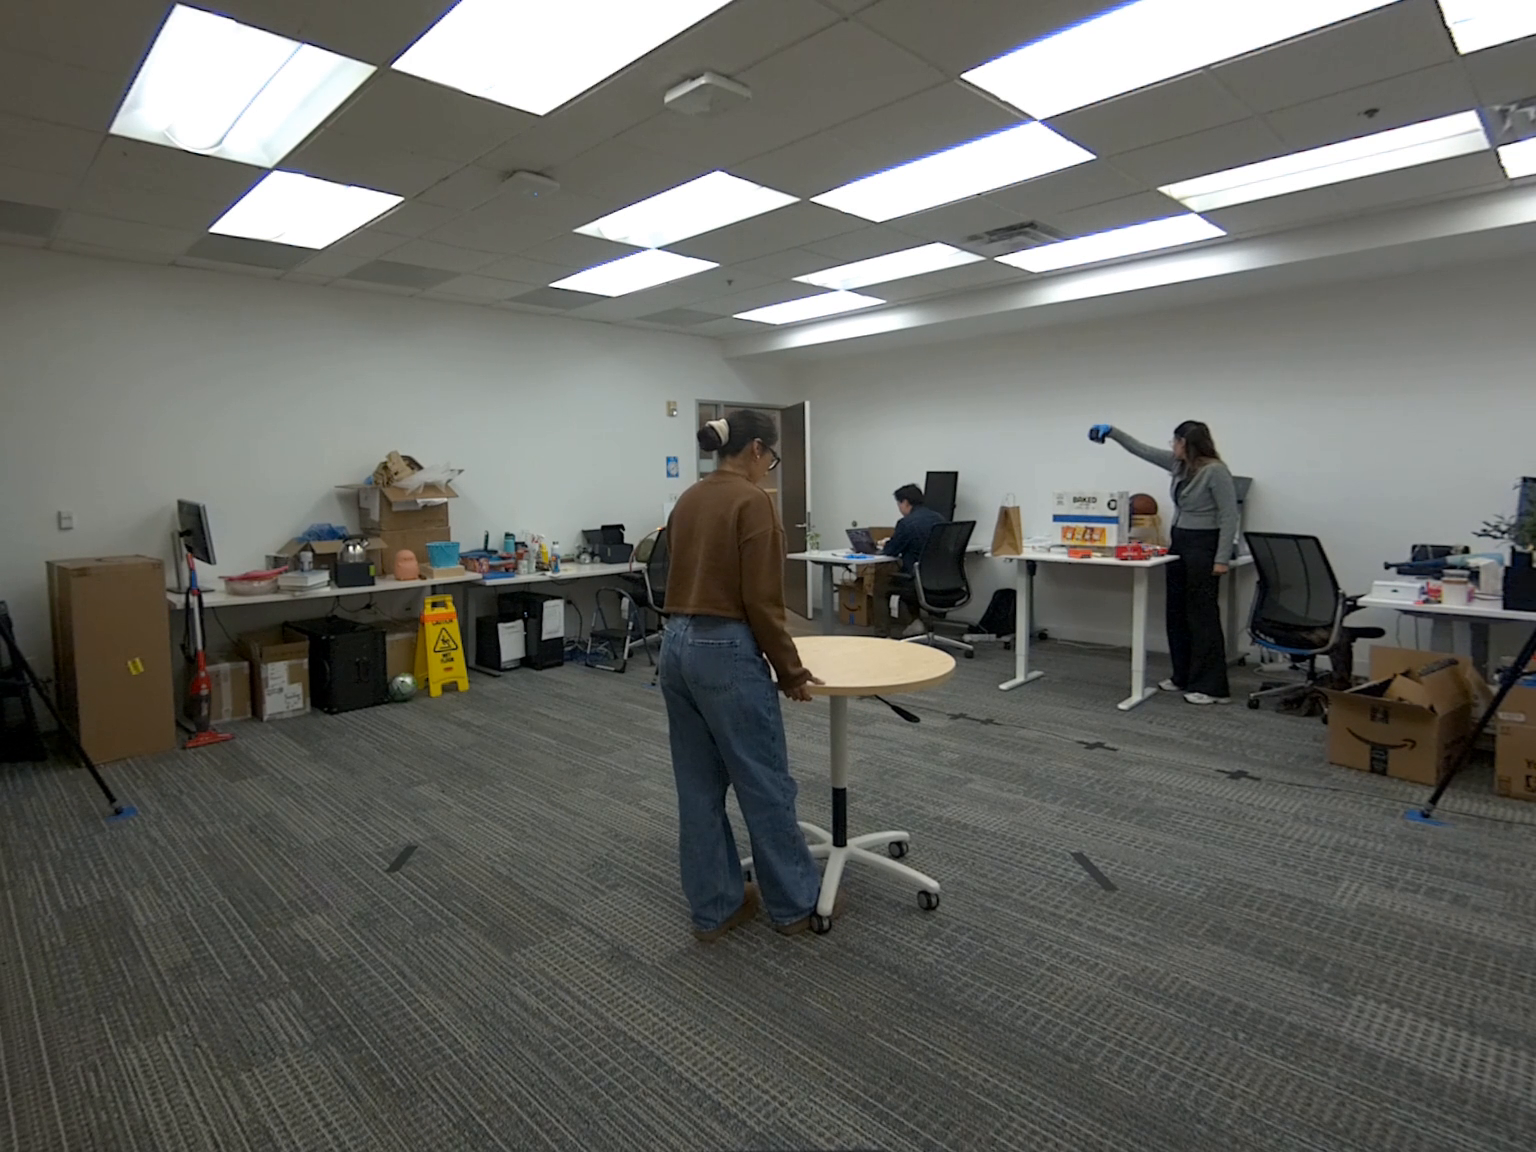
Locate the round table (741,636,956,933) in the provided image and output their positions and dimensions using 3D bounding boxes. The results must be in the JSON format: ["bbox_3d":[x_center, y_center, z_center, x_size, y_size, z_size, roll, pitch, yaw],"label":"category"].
[{"bbox_3d":[0.250,0.673,2.911,0.763,0.791,0.768,-1,5,-2],"label":"round table"}]
